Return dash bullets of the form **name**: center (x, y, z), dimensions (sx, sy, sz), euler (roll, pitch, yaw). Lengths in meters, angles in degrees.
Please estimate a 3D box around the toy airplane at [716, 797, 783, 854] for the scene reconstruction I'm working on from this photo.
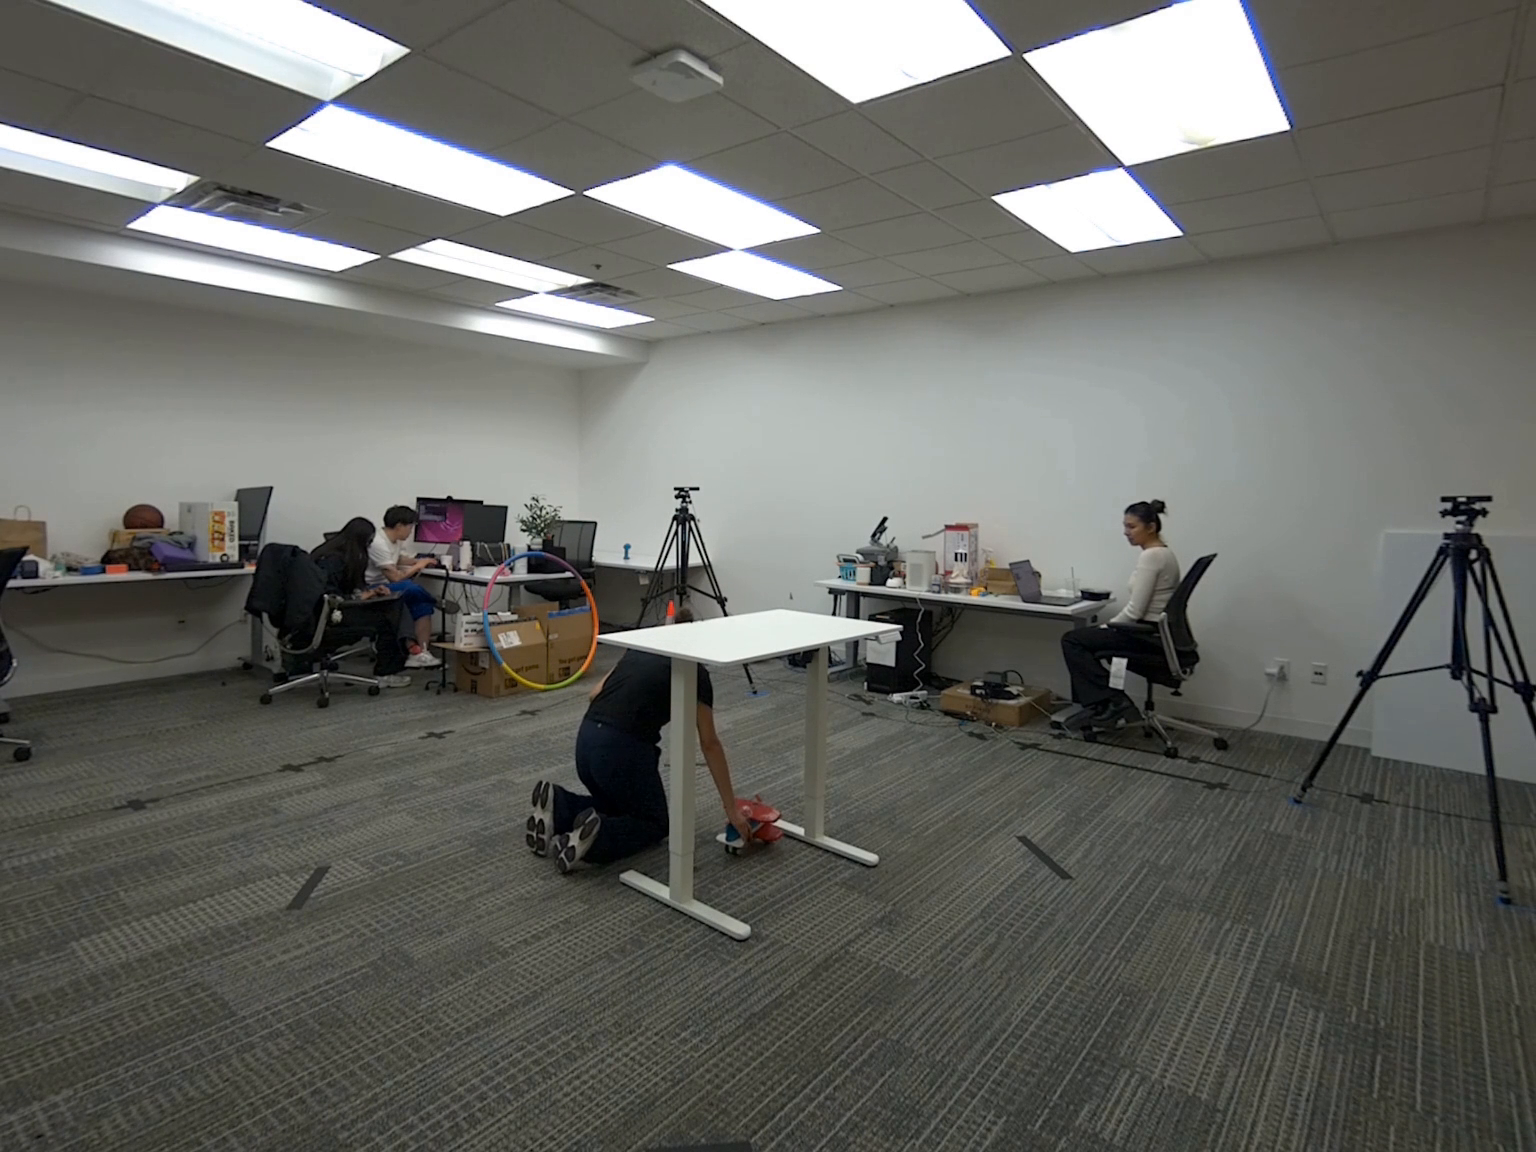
- **toy airplane**: center (-0.055, 0.979, 3.313), dimensions (0.254, 0.156, 0.257), euler (2, 4, 9)
